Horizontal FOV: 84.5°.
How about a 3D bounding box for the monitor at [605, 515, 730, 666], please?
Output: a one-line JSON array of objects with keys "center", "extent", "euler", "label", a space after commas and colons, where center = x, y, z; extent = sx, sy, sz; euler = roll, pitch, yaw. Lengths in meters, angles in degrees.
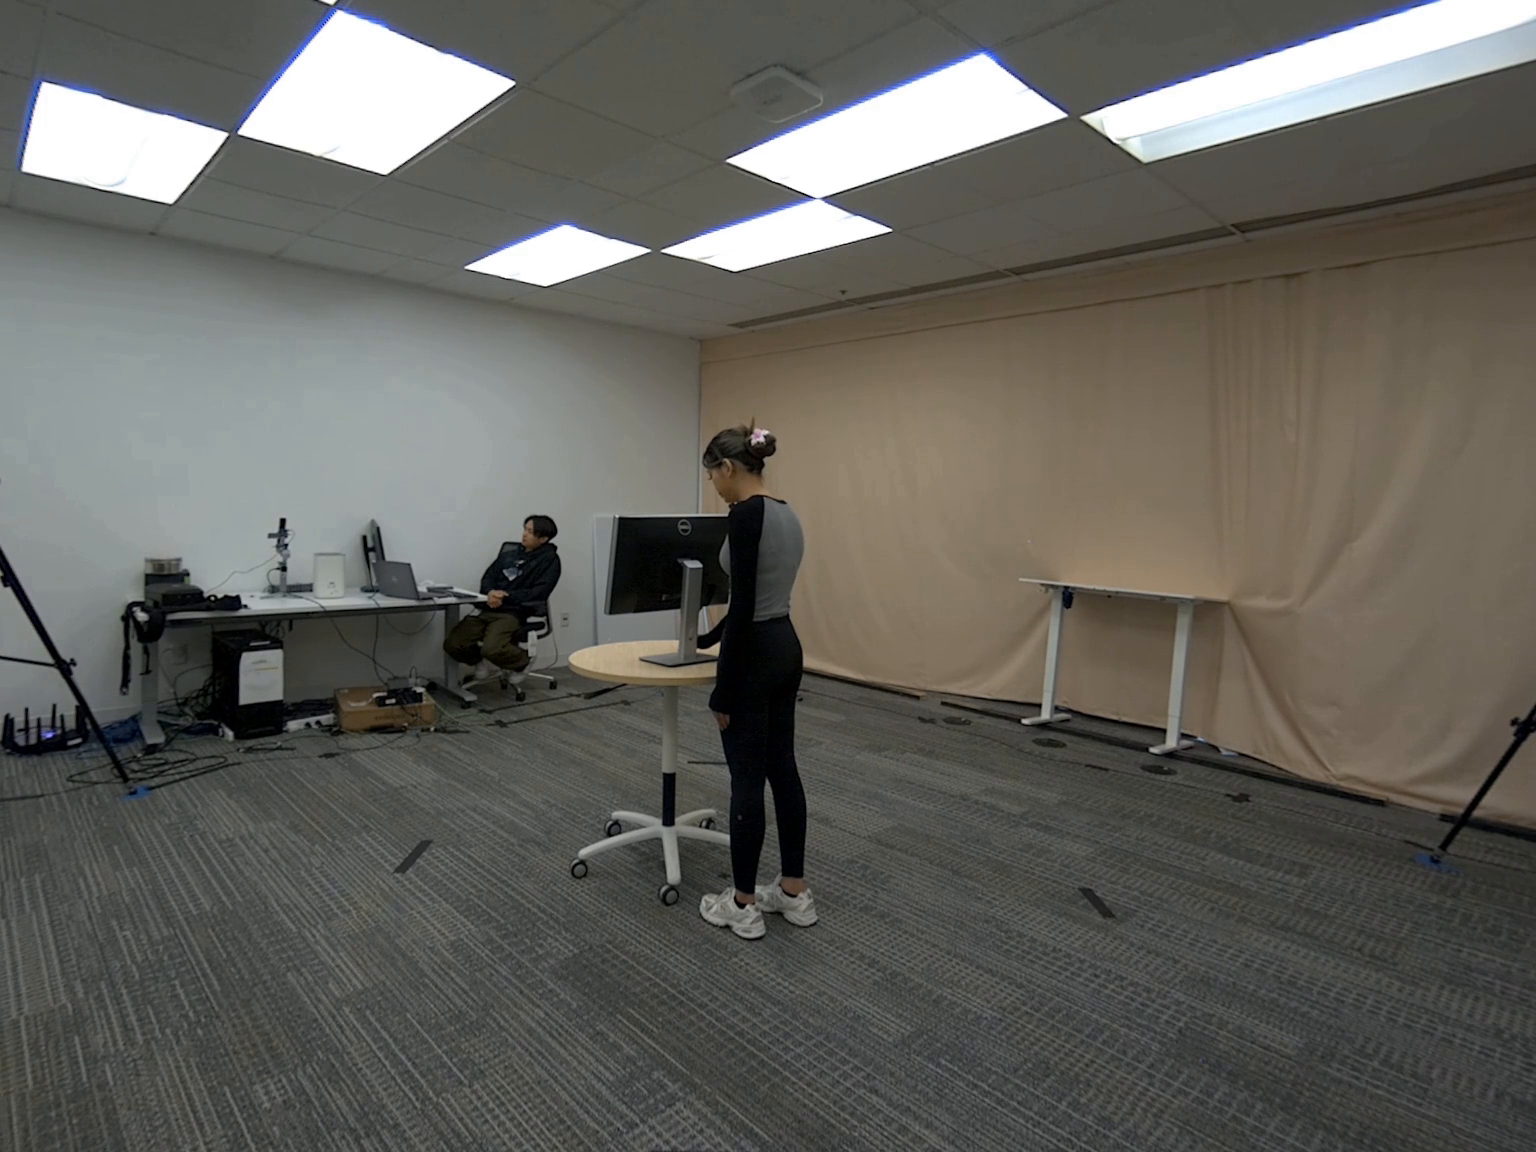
[{"center": [-0.327, 0.046, 3.112], "extent": [0.527, 0.522, 0.191], "euler": [-3, 3, -43], "label": "monitor"}]
